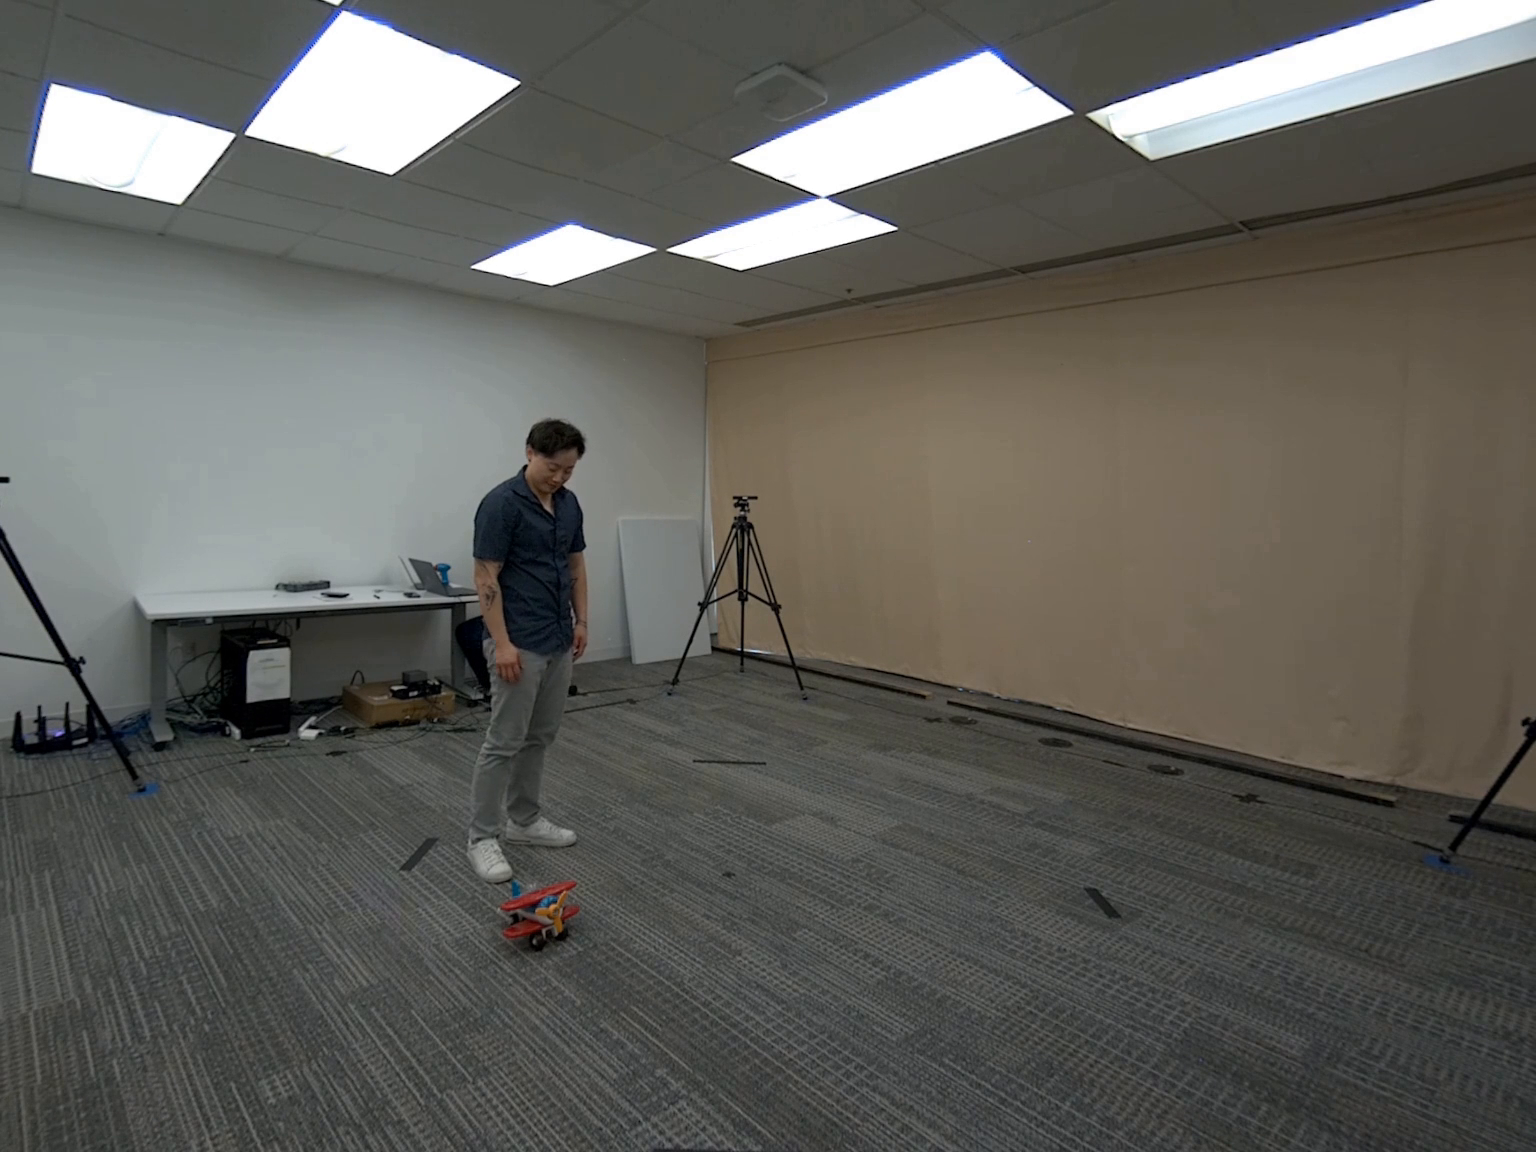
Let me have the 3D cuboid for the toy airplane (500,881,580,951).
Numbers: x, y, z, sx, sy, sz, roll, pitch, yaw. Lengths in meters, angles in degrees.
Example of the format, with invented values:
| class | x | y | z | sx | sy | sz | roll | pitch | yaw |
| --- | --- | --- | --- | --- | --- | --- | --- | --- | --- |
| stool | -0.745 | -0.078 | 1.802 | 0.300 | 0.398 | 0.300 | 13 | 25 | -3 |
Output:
| class | x | y | z | sx | sy | sz | roll | pitch | yaw |
| --- | --- | --- | --- | --- | --- | --- | --- | --- | --- |
| toy airplane | -0.750 | 1.058 | 2.636 | 0.263 | 0.156 | 0.248 | 3 | 6 | 17 |
